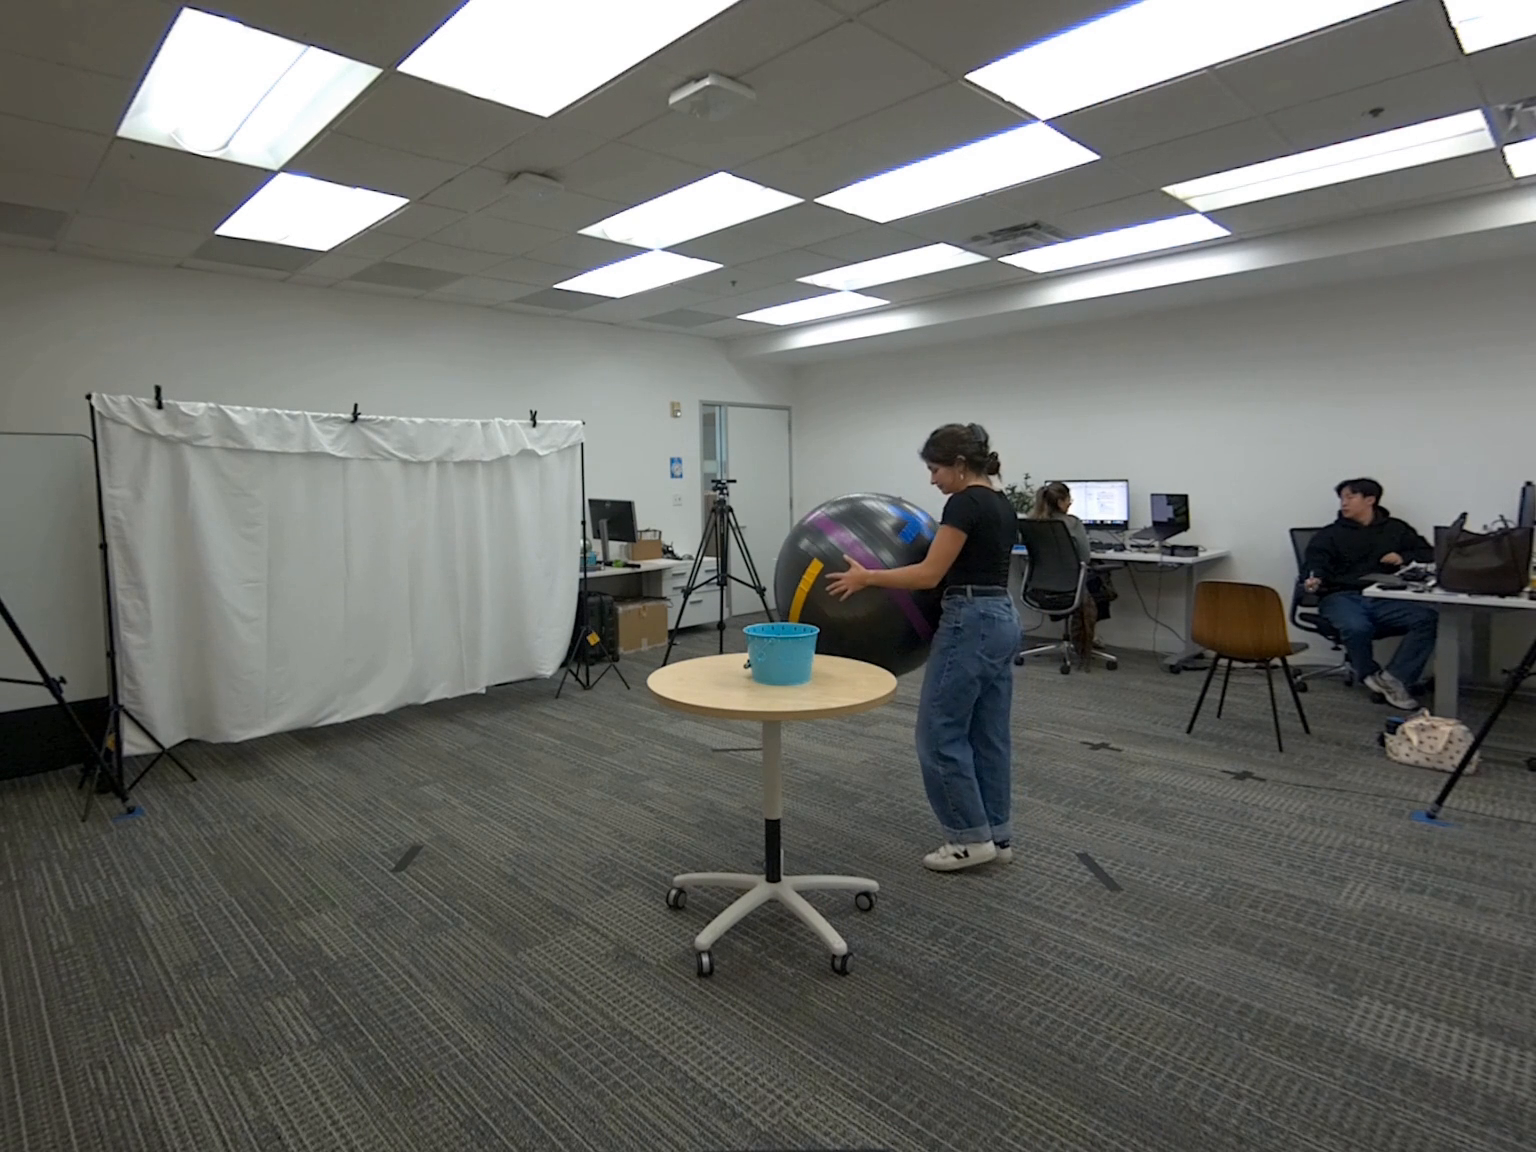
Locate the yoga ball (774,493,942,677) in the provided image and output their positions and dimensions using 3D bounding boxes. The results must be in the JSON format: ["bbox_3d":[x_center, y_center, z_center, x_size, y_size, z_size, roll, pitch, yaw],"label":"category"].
[{"bbox_3d":[0.402,0.049,3.465,0.757,0.755,0.762,-1,5,-2],"label":"yoga ball"}]
